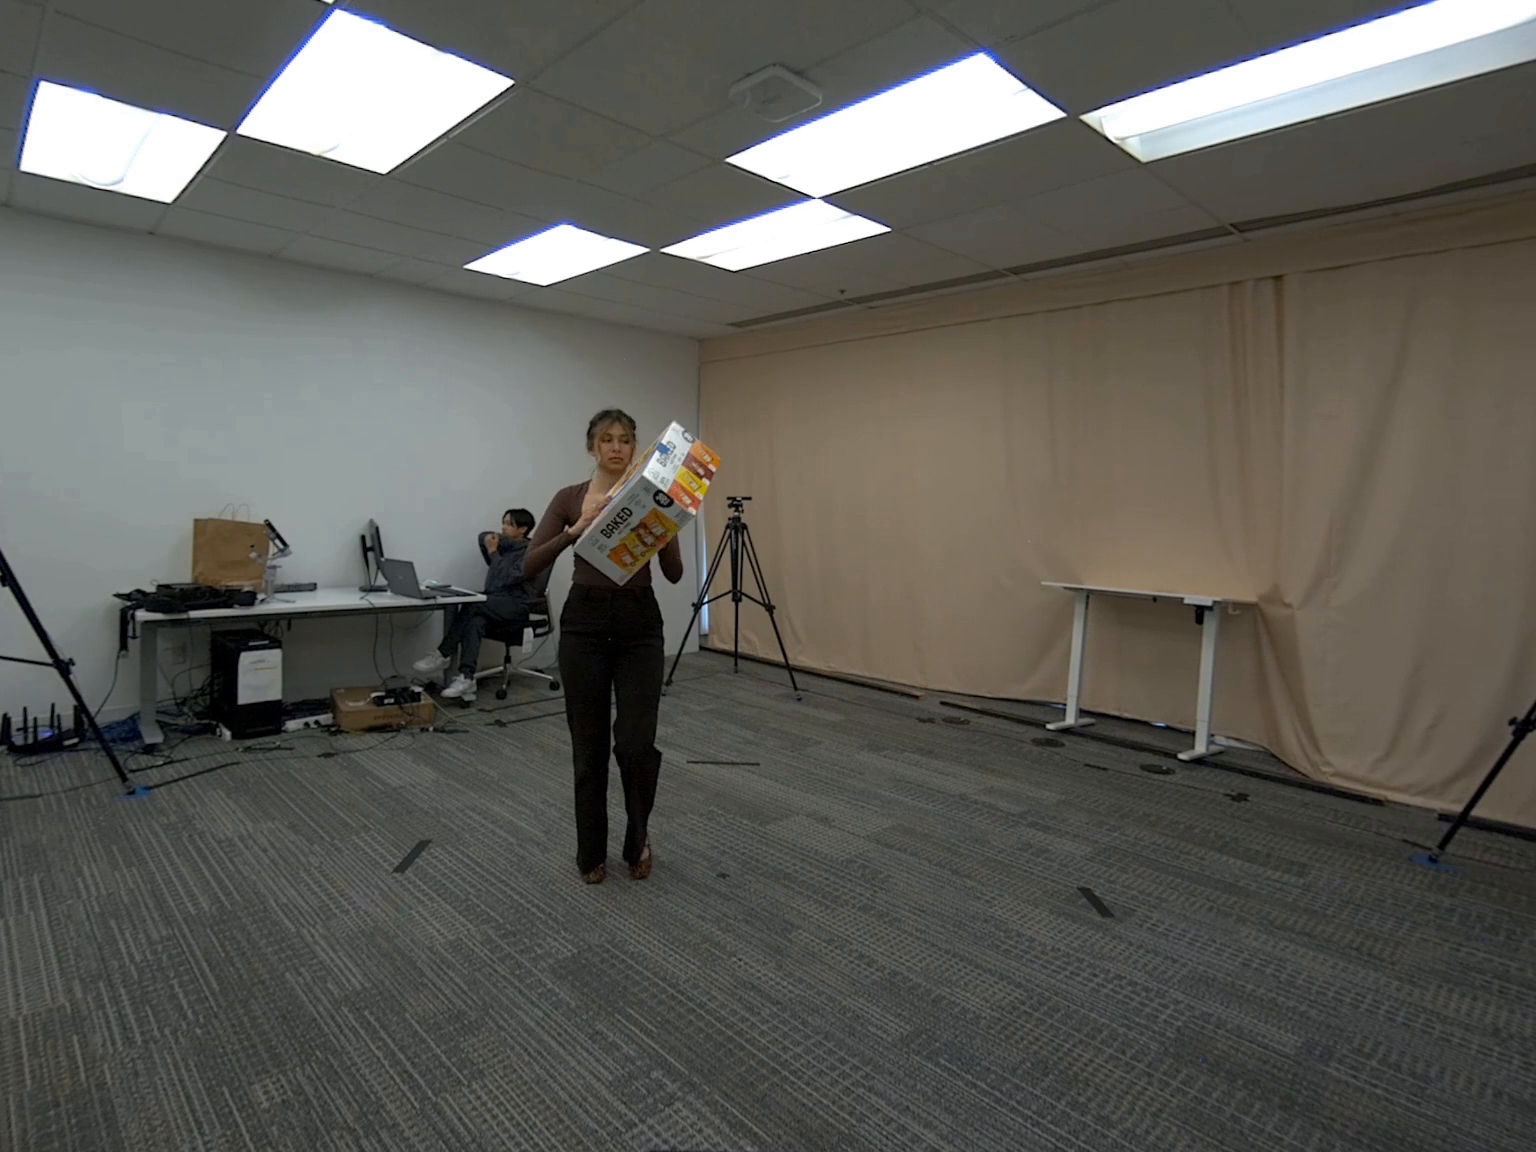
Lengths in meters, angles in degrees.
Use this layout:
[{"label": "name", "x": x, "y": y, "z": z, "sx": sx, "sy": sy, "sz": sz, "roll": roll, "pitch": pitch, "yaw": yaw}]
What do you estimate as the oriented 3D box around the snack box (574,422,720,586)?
[{"label": "snack box", "x": -0.396, "y": -0.233, "z": 2.713, "sx": 0.406, "sy": 0.202, "sz": 0.345, "roll": -40, "pitch": 20, "yaw": 34}]
